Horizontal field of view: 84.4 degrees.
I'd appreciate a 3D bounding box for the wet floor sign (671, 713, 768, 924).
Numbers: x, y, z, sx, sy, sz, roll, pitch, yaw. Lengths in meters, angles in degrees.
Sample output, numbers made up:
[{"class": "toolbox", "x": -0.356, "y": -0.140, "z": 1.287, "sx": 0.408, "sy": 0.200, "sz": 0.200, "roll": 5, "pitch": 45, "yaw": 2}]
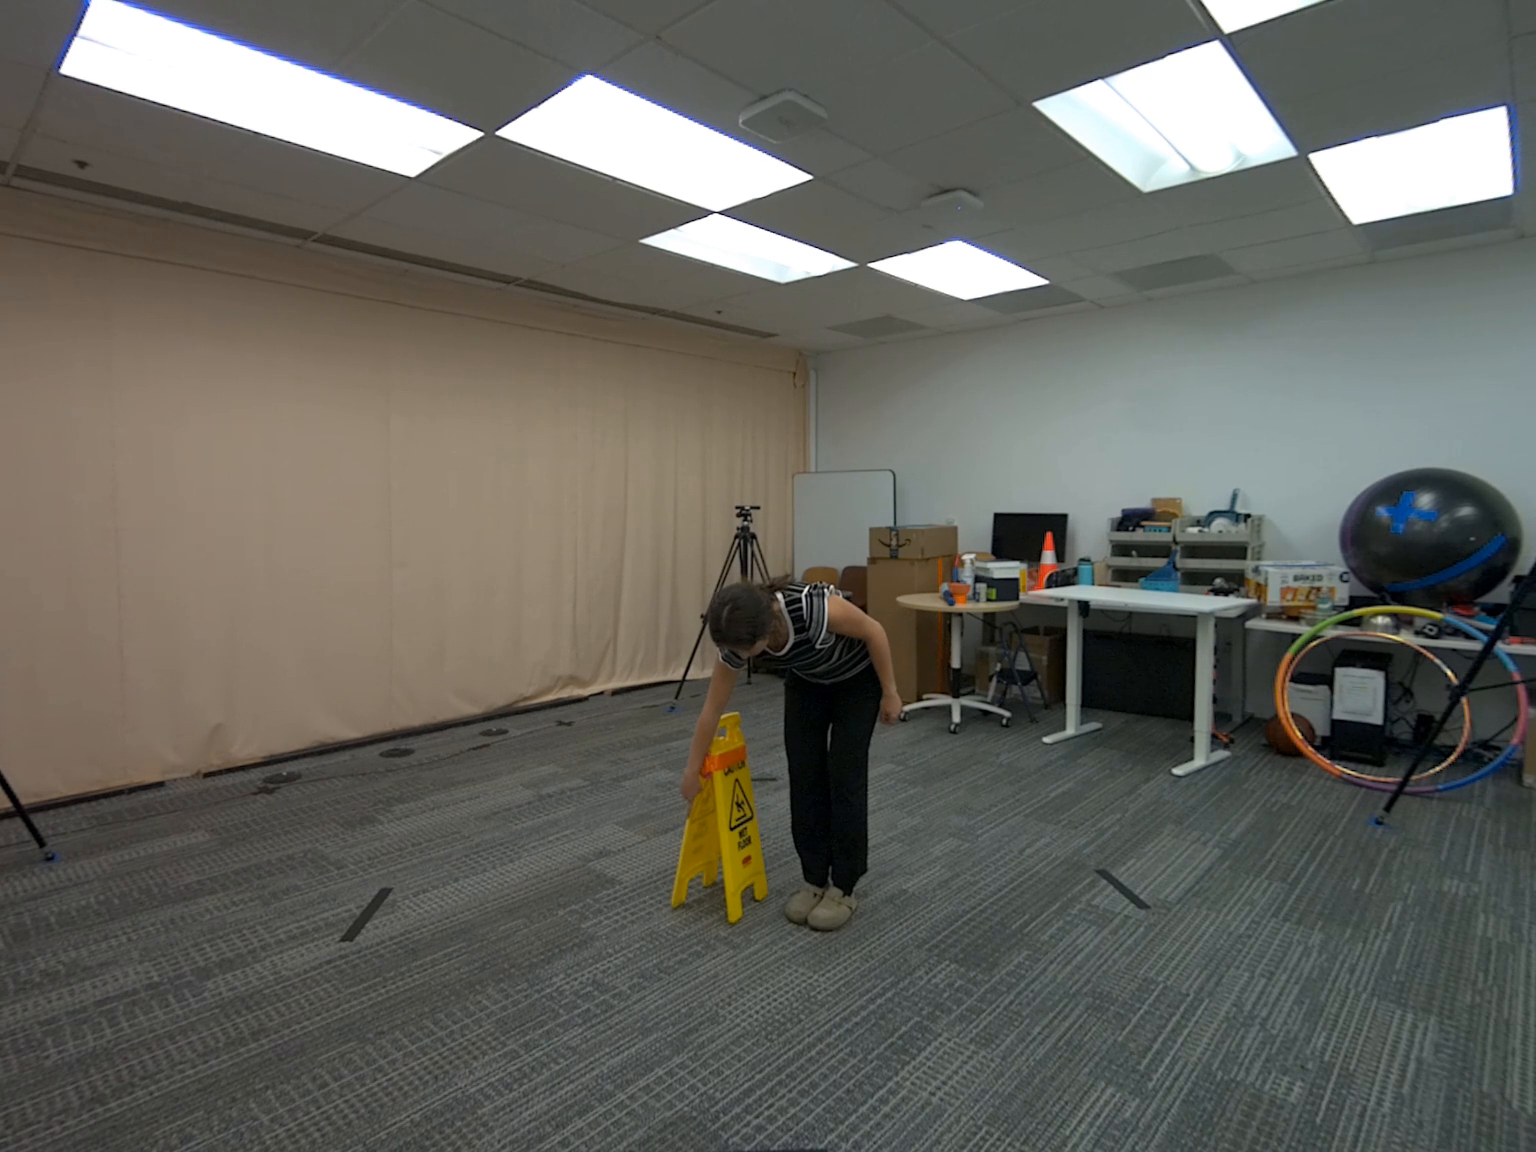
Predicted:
[{"class": "wet floor sign", "x": -0.156, "y": 0.821, "z": 2.958, "sx": 0.298, "sy": 0.646, "sz": 0.274, "roll": 1, "pitch": 0, "yaw": 29}]
